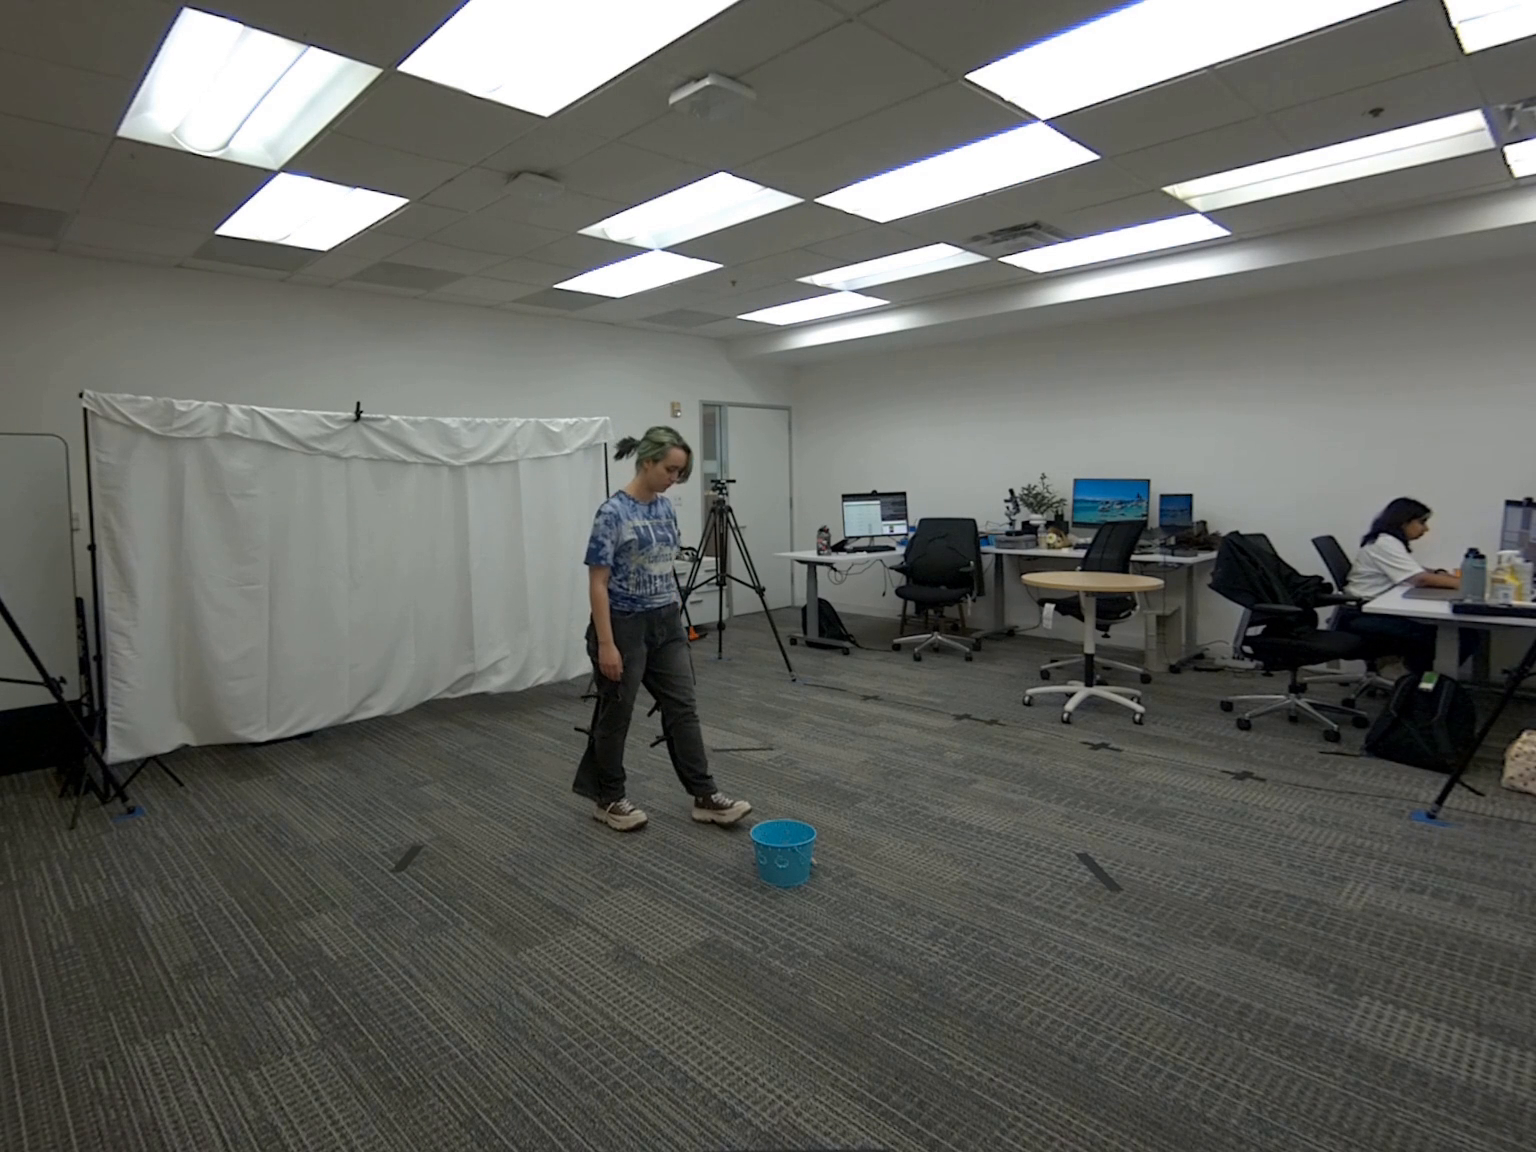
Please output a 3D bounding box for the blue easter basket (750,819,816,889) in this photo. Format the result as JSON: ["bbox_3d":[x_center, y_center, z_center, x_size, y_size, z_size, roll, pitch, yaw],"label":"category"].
[{"bbox_3d":[0.054,0.976,3.012,0.243,0.155,0.245,-1,5,-2],"label":"blue easter basket"}]
